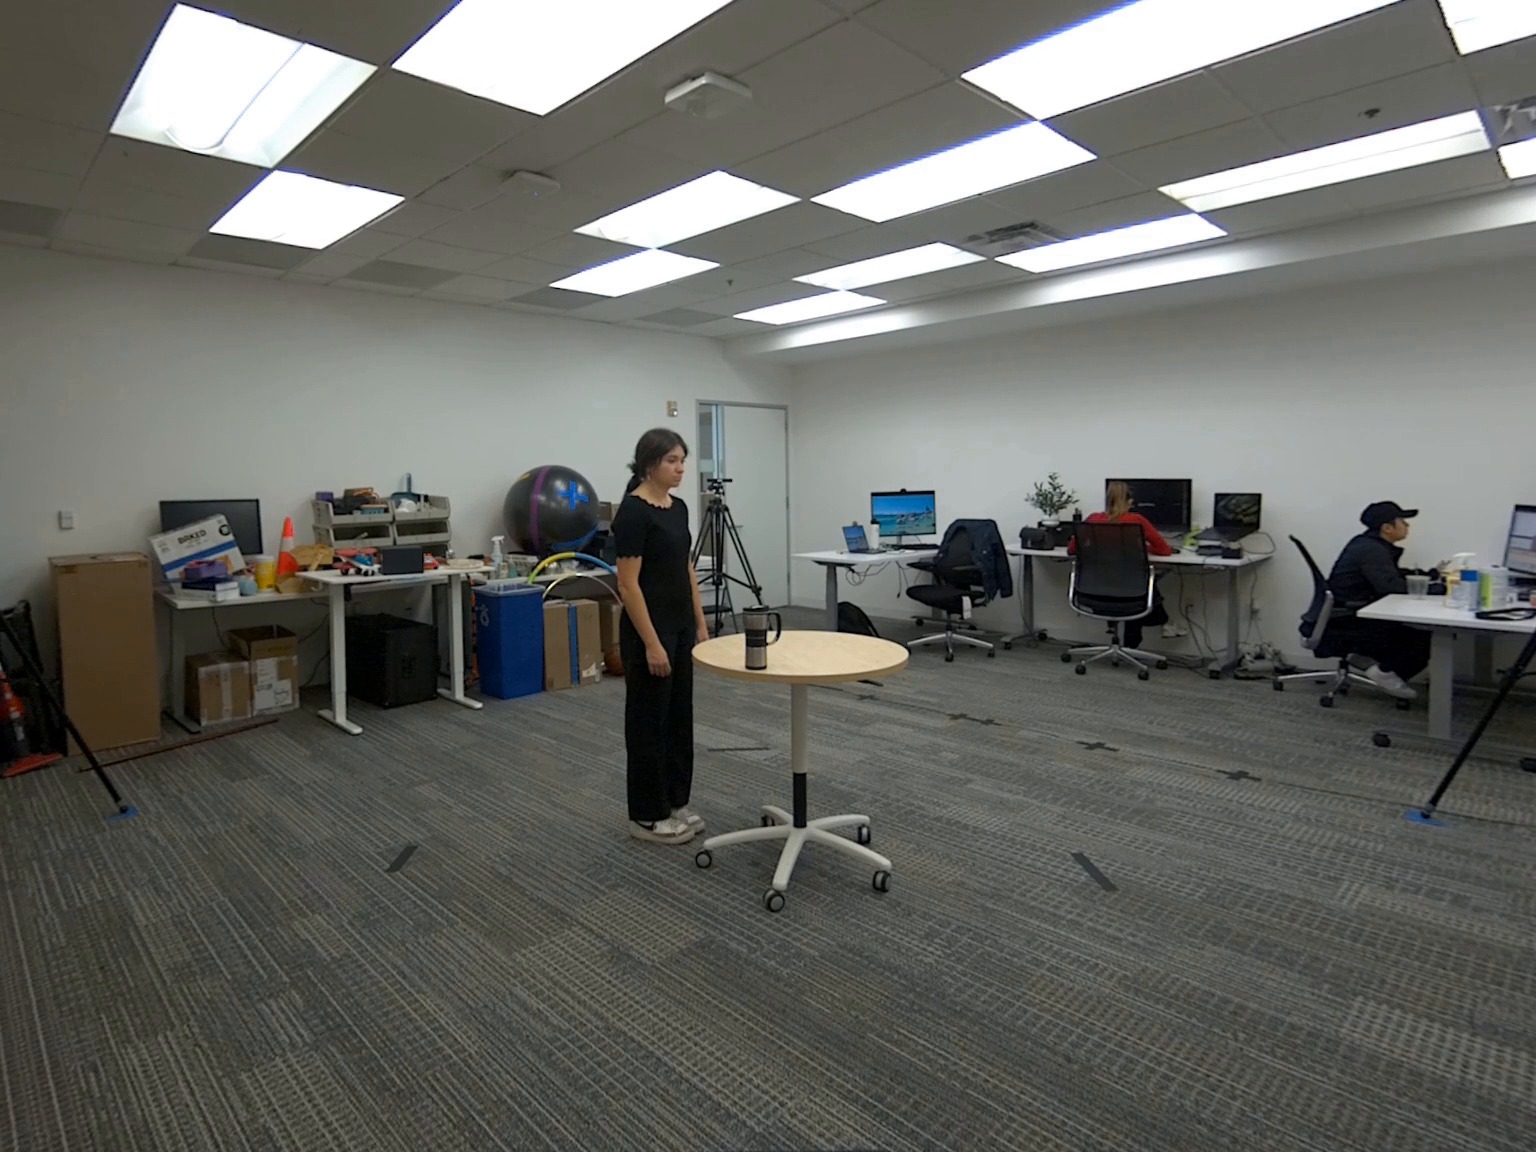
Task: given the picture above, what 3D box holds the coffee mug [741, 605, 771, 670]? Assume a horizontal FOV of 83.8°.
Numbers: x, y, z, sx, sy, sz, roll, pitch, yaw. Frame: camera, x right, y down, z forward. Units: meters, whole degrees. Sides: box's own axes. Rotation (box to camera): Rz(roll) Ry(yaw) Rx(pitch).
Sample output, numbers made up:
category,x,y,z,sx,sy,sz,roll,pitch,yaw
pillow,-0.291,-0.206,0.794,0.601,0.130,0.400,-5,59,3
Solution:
category,x,y,z,sx,sy,sz,roll,pitch,yaw
coffee mug,-0.019,0.198,2.759,0.125,0.203,0.085,-1,1,33
